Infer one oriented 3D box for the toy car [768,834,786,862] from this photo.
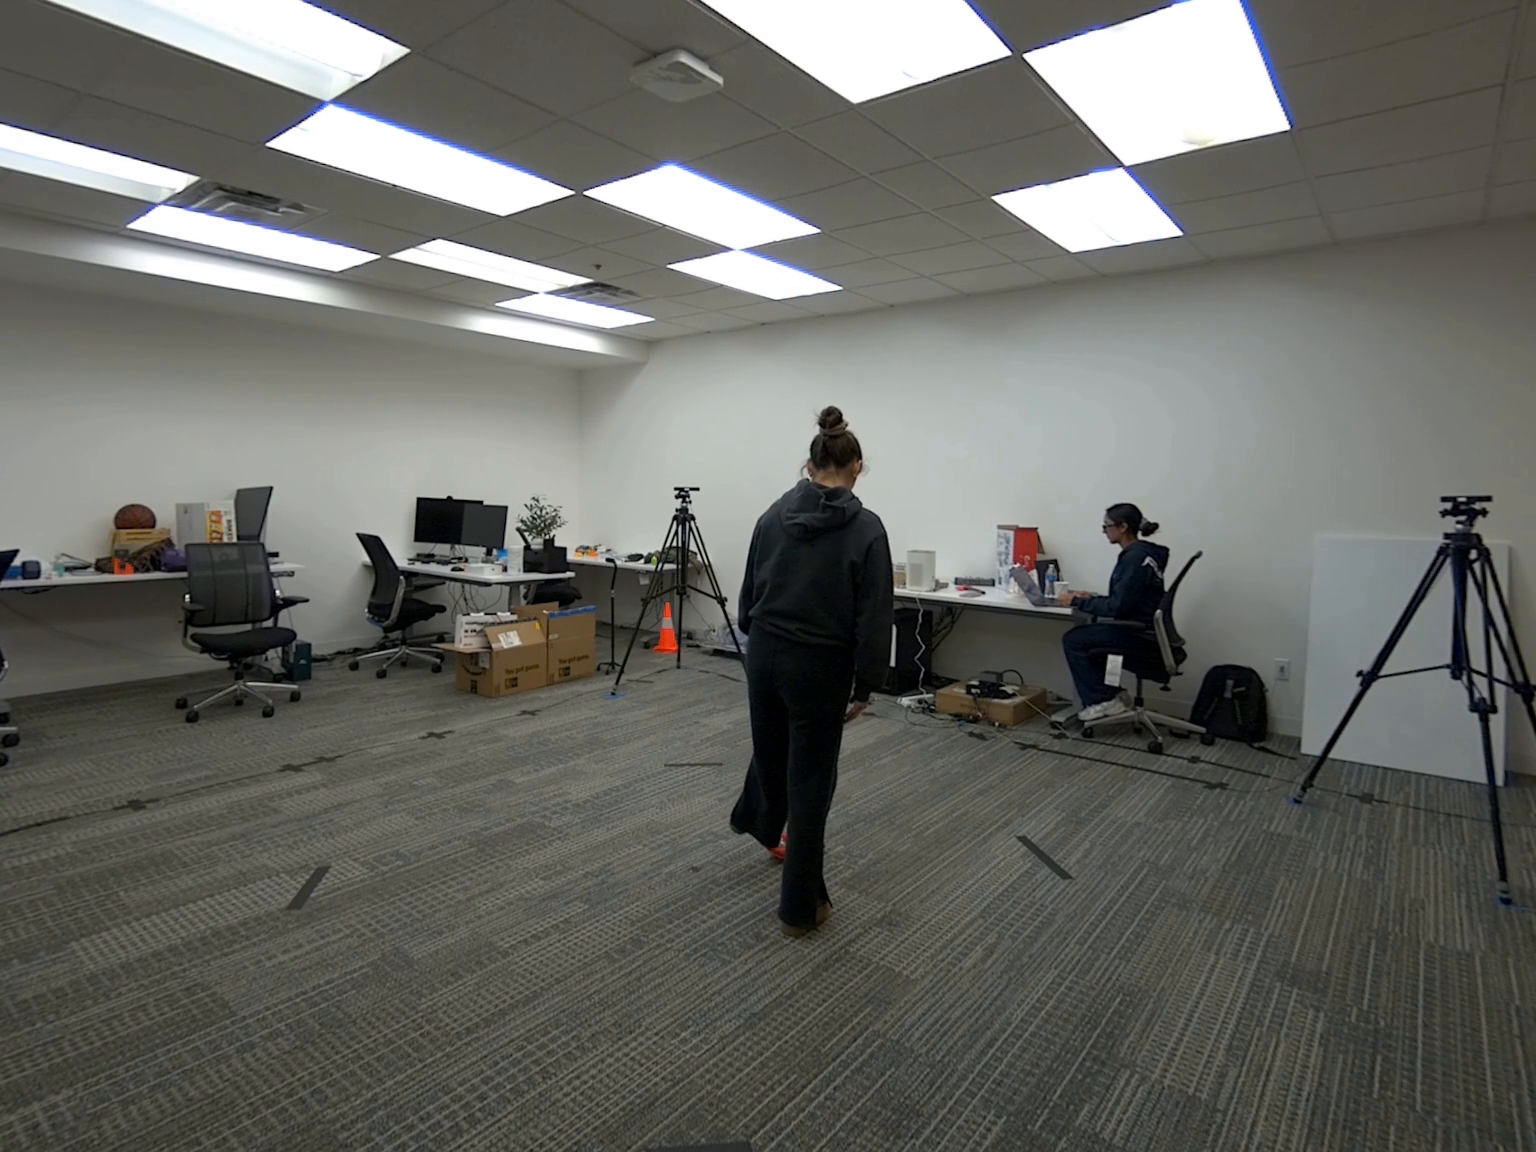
[{"bbox_3d":[0.109,1.020,3.247,0.245,0.083,0.135,11,-3,-40],"label":"toy car"}]
